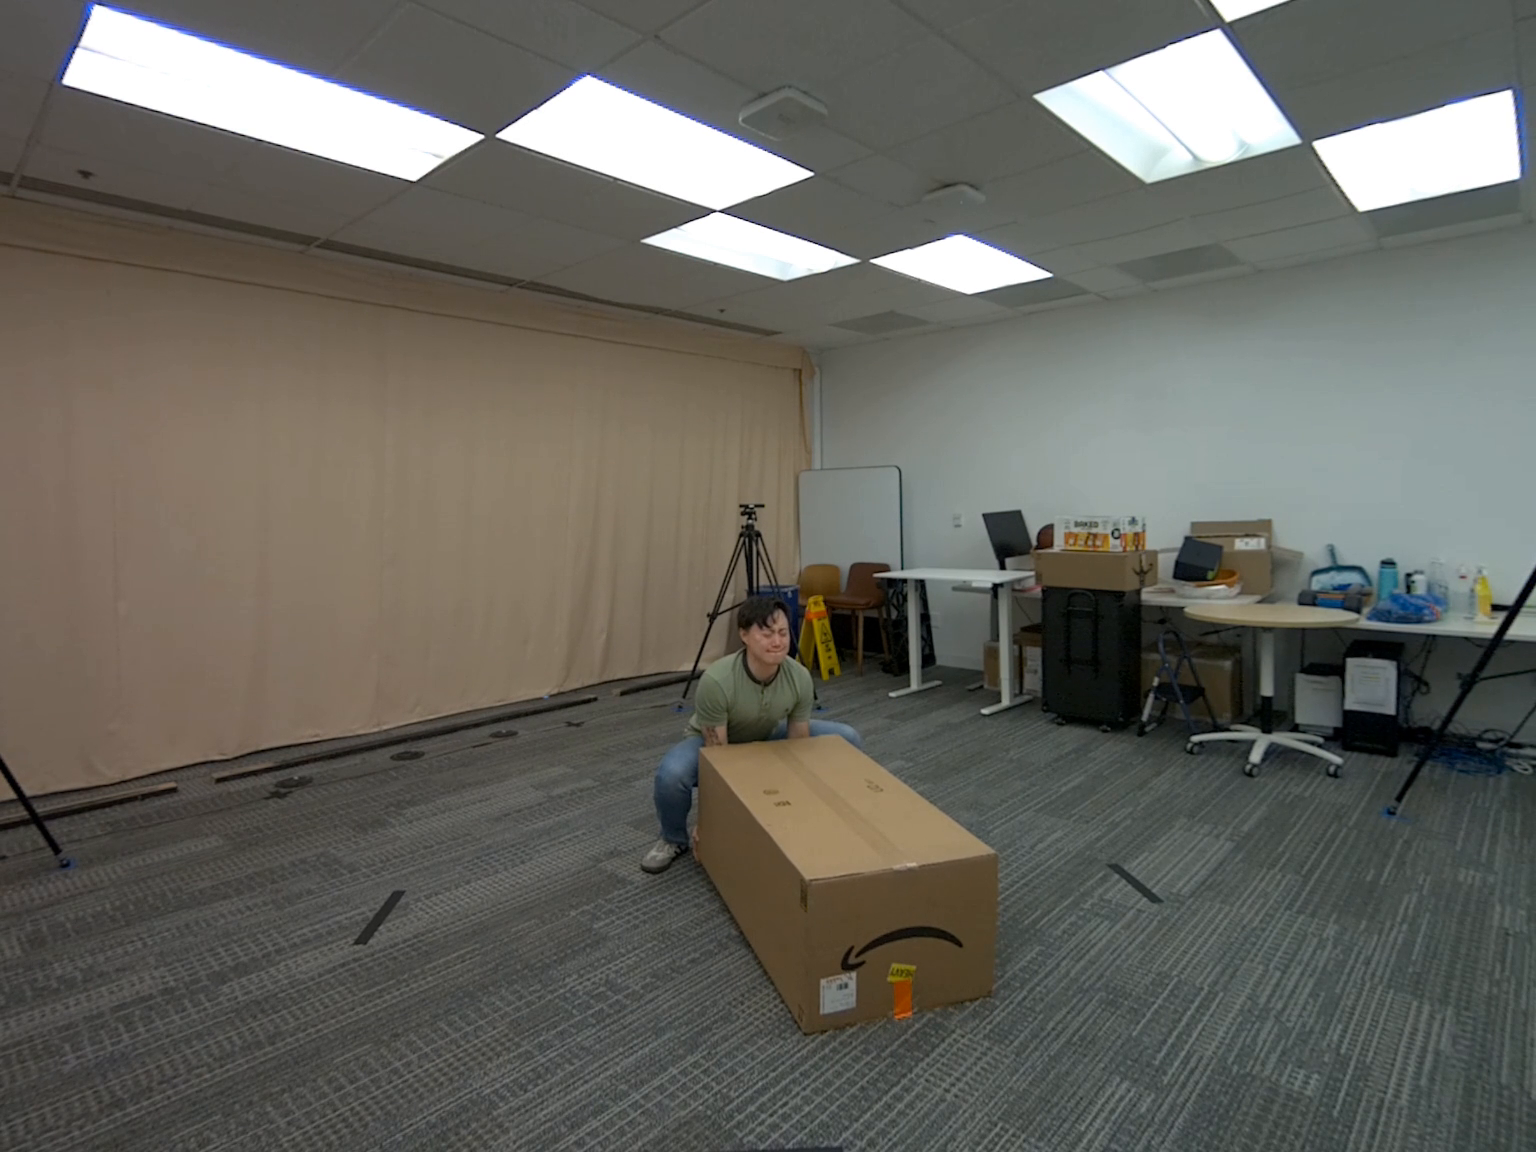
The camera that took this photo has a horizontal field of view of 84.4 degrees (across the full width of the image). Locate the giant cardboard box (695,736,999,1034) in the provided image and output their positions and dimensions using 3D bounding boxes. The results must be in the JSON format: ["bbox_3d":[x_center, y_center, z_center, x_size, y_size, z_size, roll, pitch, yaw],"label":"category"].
[{"bbox_3d":[0.190,0.903,2.737,0.567,0.424,1.050,-2,9,-19],"label":"giant cardboard box"}]
